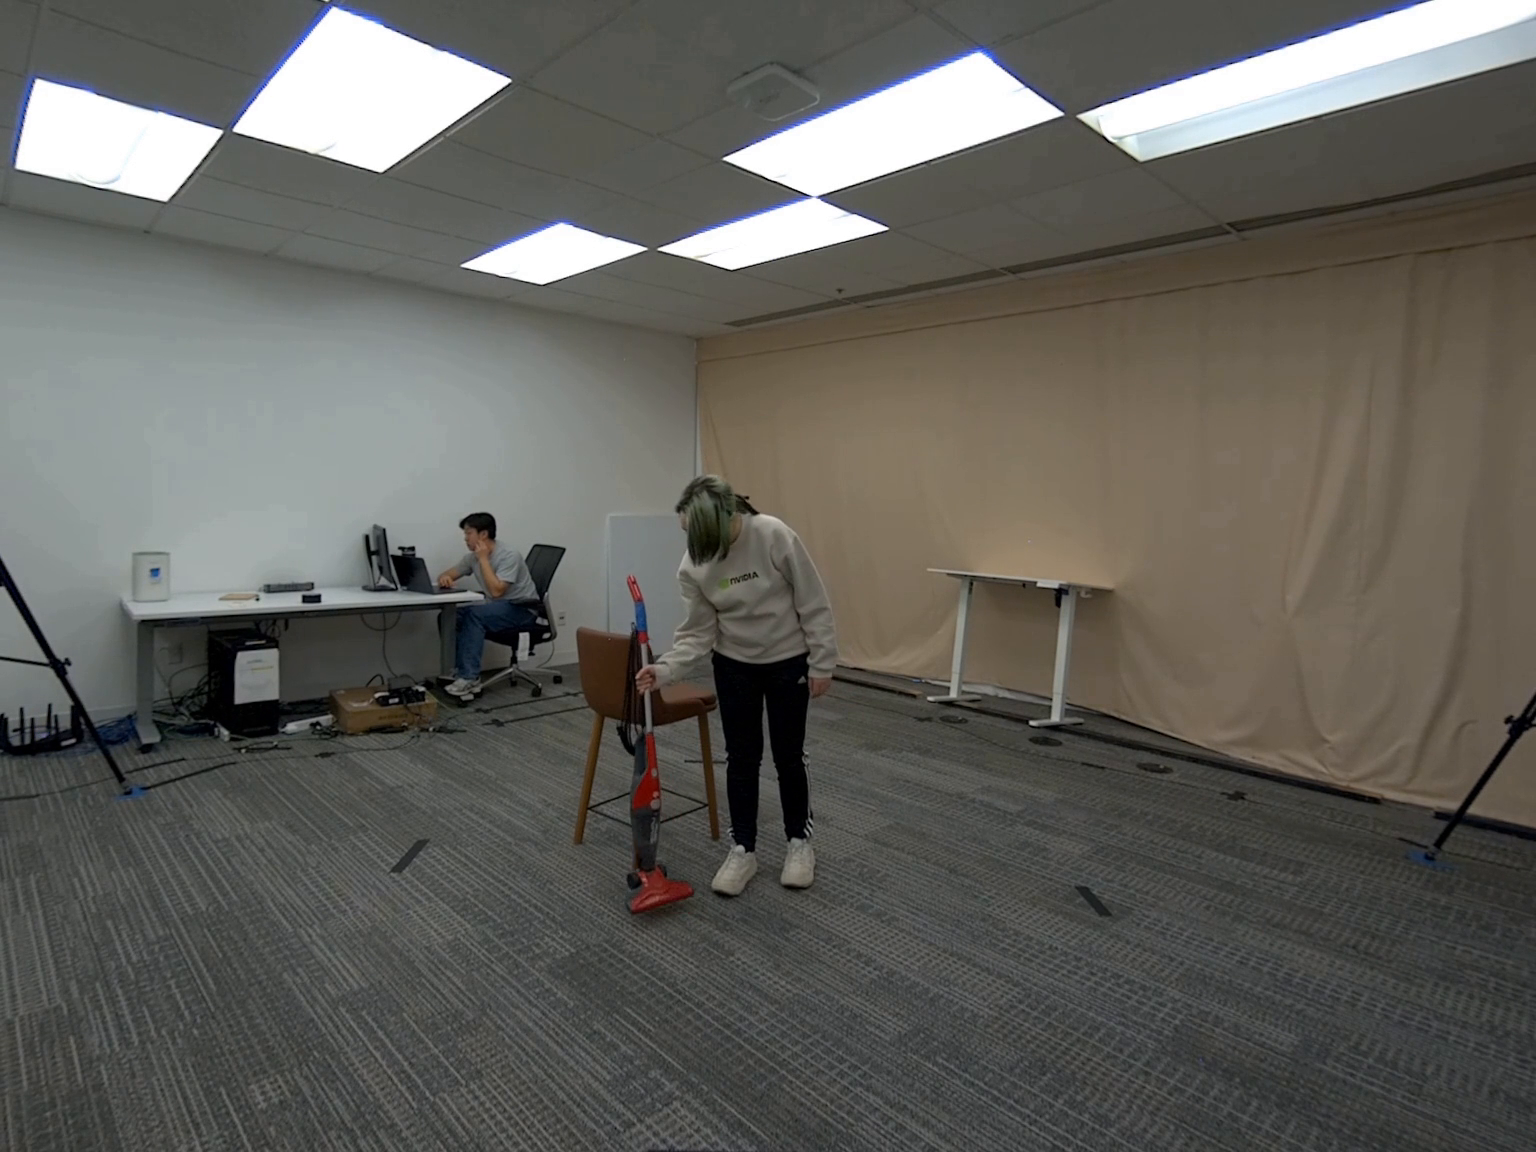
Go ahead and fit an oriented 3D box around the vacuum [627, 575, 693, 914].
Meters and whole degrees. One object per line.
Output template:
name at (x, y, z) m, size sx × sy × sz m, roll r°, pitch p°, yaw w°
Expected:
vacuum at (-0.437, 0.536, 2.866) m, size 0.247 × 1.054 × 0.146 m, roll -2°, pitch -6°, yaw -36°
